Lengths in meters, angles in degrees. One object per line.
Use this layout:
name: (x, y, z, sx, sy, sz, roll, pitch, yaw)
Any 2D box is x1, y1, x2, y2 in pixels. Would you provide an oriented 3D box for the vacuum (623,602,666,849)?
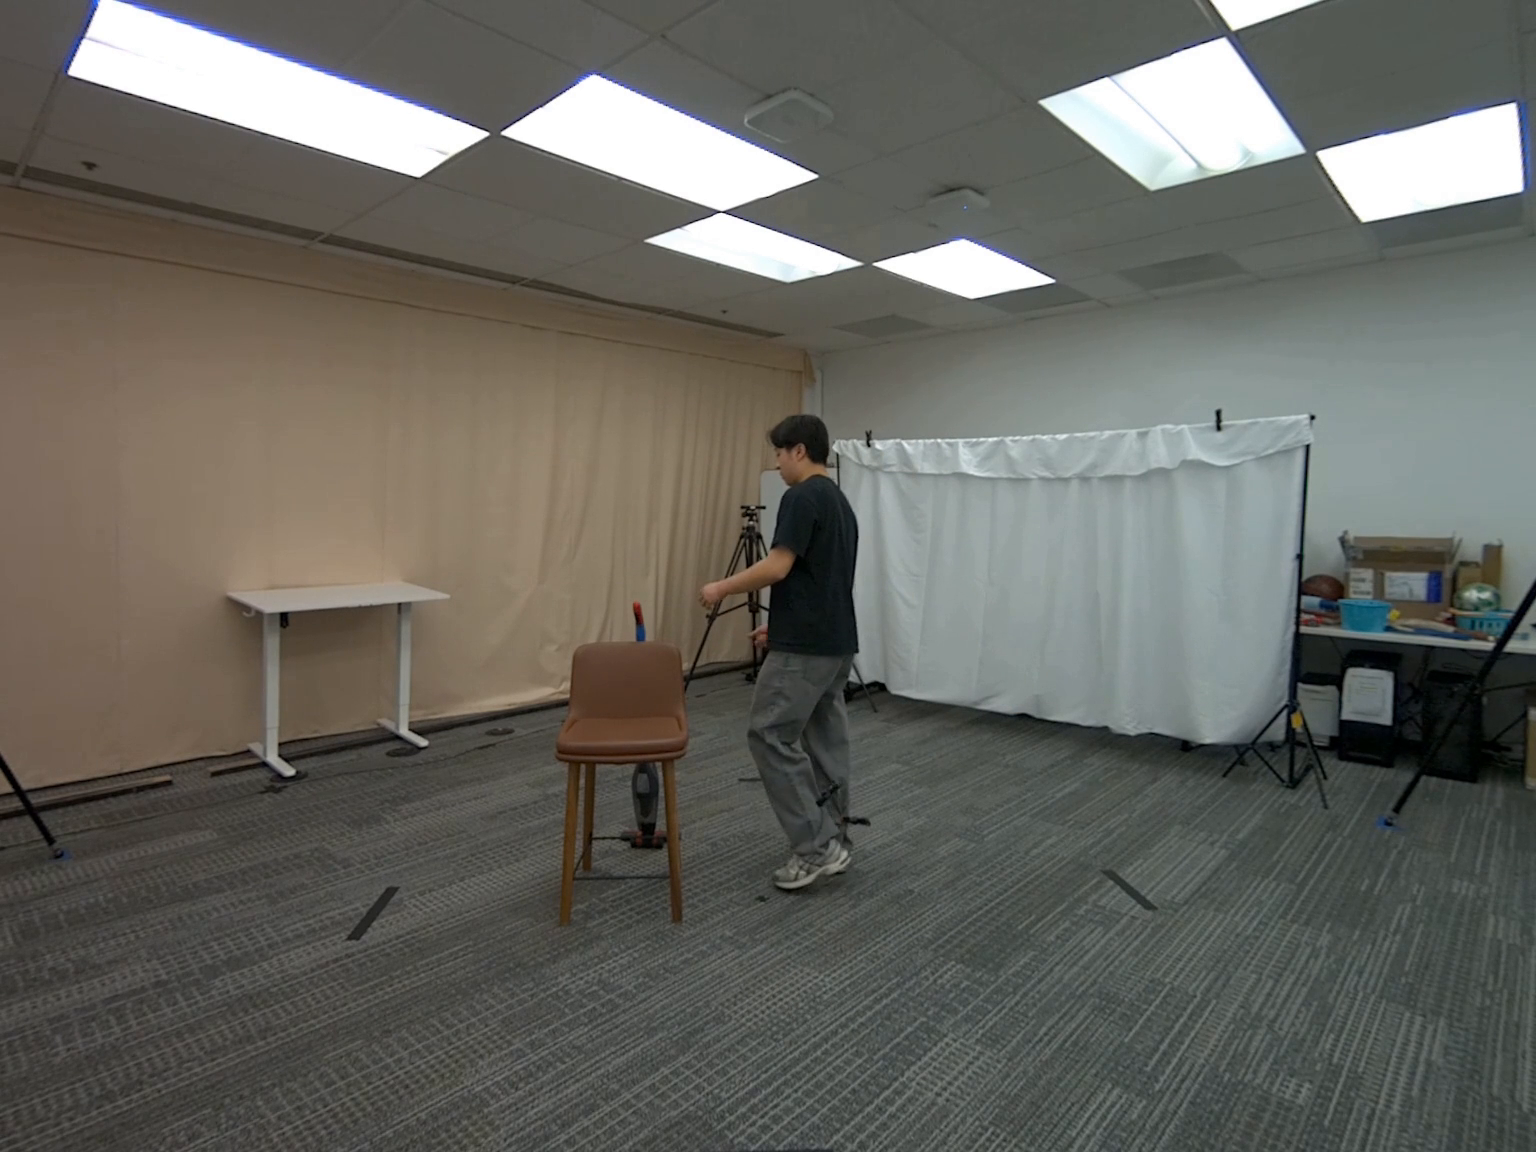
vacuum: (-0.497, 0.606, 3.366, 0.252, 1.040, 0.145, -1, 14, -1)
